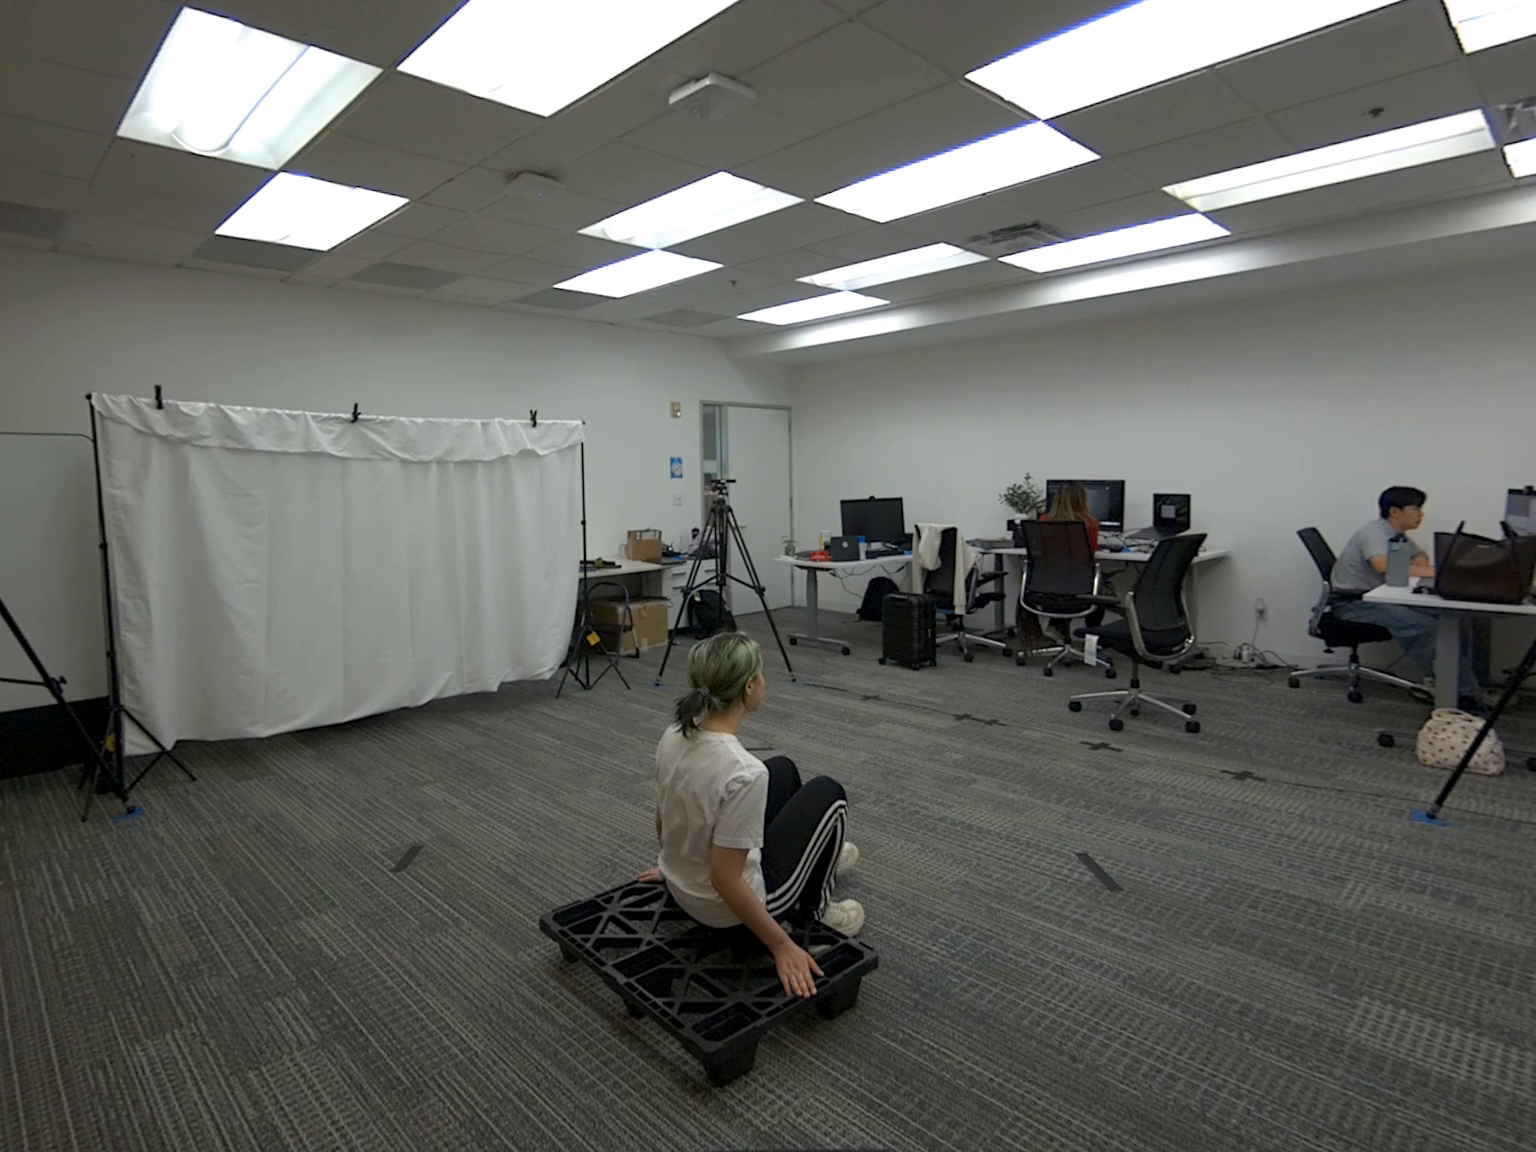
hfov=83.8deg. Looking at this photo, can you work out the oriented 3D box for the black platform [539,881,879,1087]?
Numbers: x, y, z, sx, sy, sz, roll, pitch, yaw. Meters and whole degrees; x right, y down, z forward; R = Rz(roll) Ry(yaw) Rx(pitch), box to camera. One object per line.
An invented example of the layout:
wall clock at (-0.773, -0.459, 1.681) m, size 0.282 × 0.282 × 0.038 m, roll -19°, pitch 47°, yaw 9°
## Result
black platform at (-0.182, 1.068, 2.398) m, size 0.589 × 0.143 × 0.831 m, roll -6°, pitch 8°, yaw -41°
